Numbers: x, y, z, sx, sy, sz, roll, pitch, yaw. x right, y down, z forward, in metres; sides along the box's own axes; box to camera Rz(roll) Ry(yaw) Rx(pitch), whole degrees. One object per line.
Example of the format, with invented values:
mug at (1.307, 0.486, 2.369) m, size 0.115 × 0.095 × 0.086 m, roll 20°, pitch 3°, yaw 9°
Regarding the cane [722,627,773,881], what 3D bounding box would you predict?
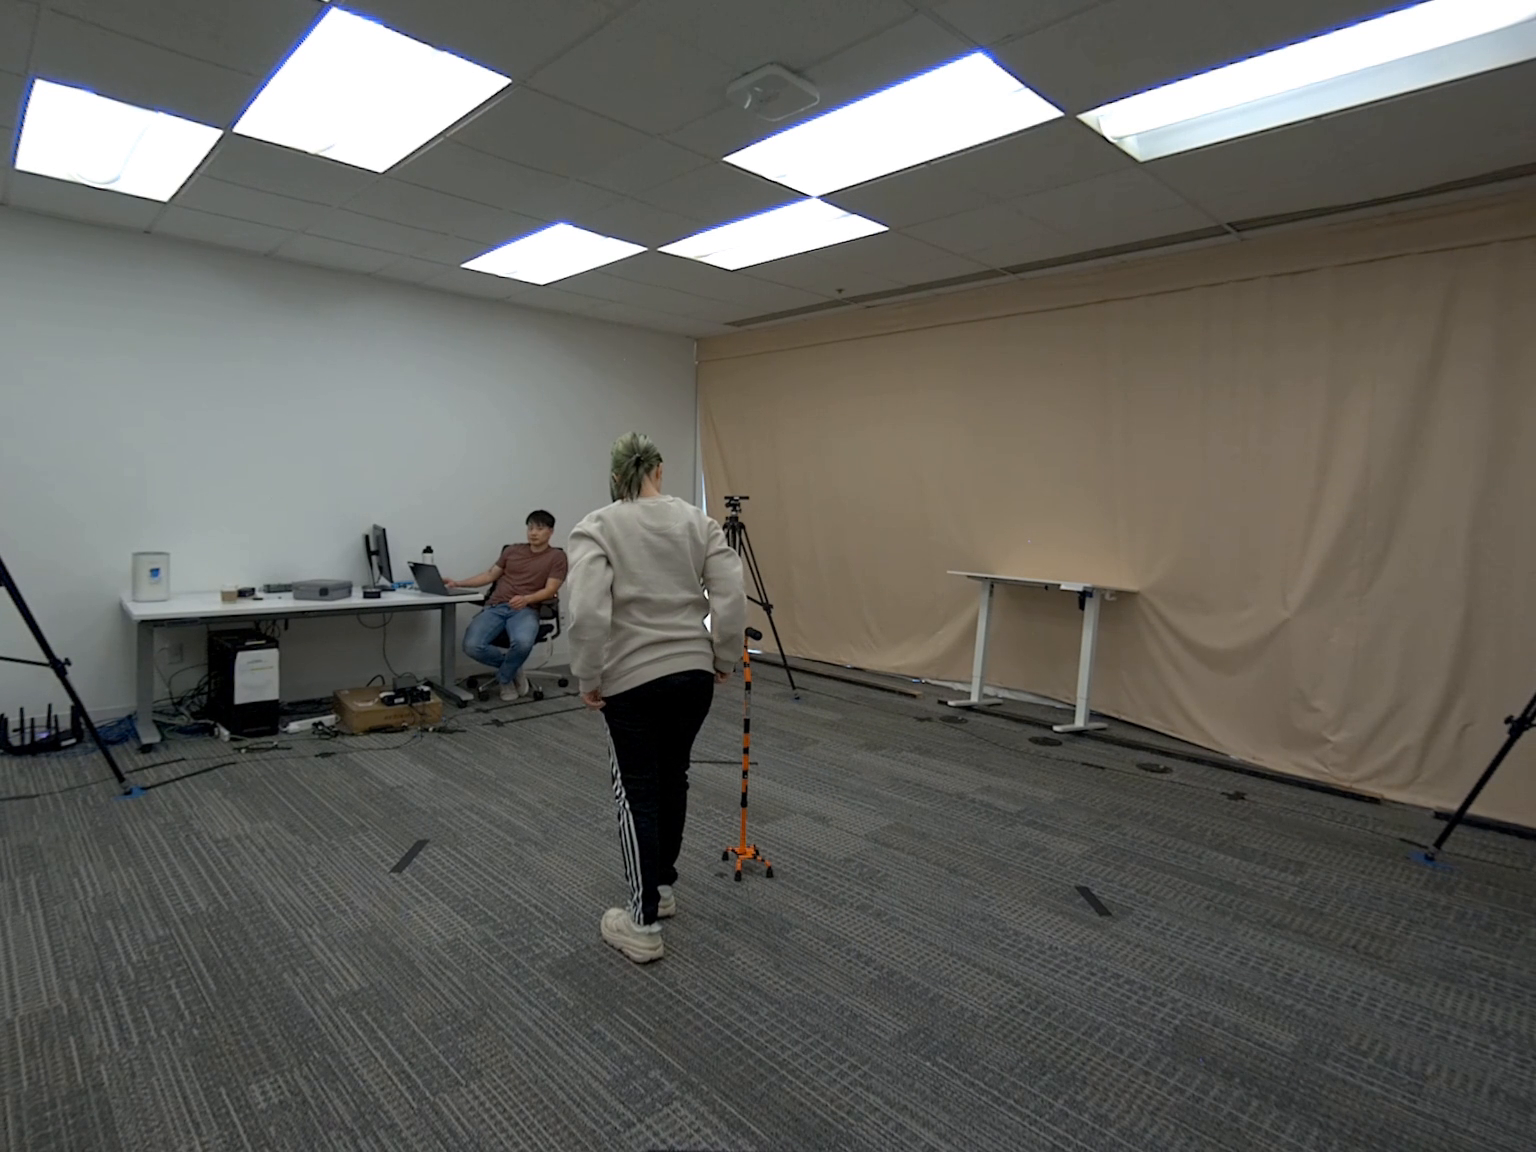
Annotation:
cane at (-0.070, 0.652, 3.140) m, size 0.150 × 0.906 × 0.209 m, roll 1°, pitch 3°, yaw -16°
